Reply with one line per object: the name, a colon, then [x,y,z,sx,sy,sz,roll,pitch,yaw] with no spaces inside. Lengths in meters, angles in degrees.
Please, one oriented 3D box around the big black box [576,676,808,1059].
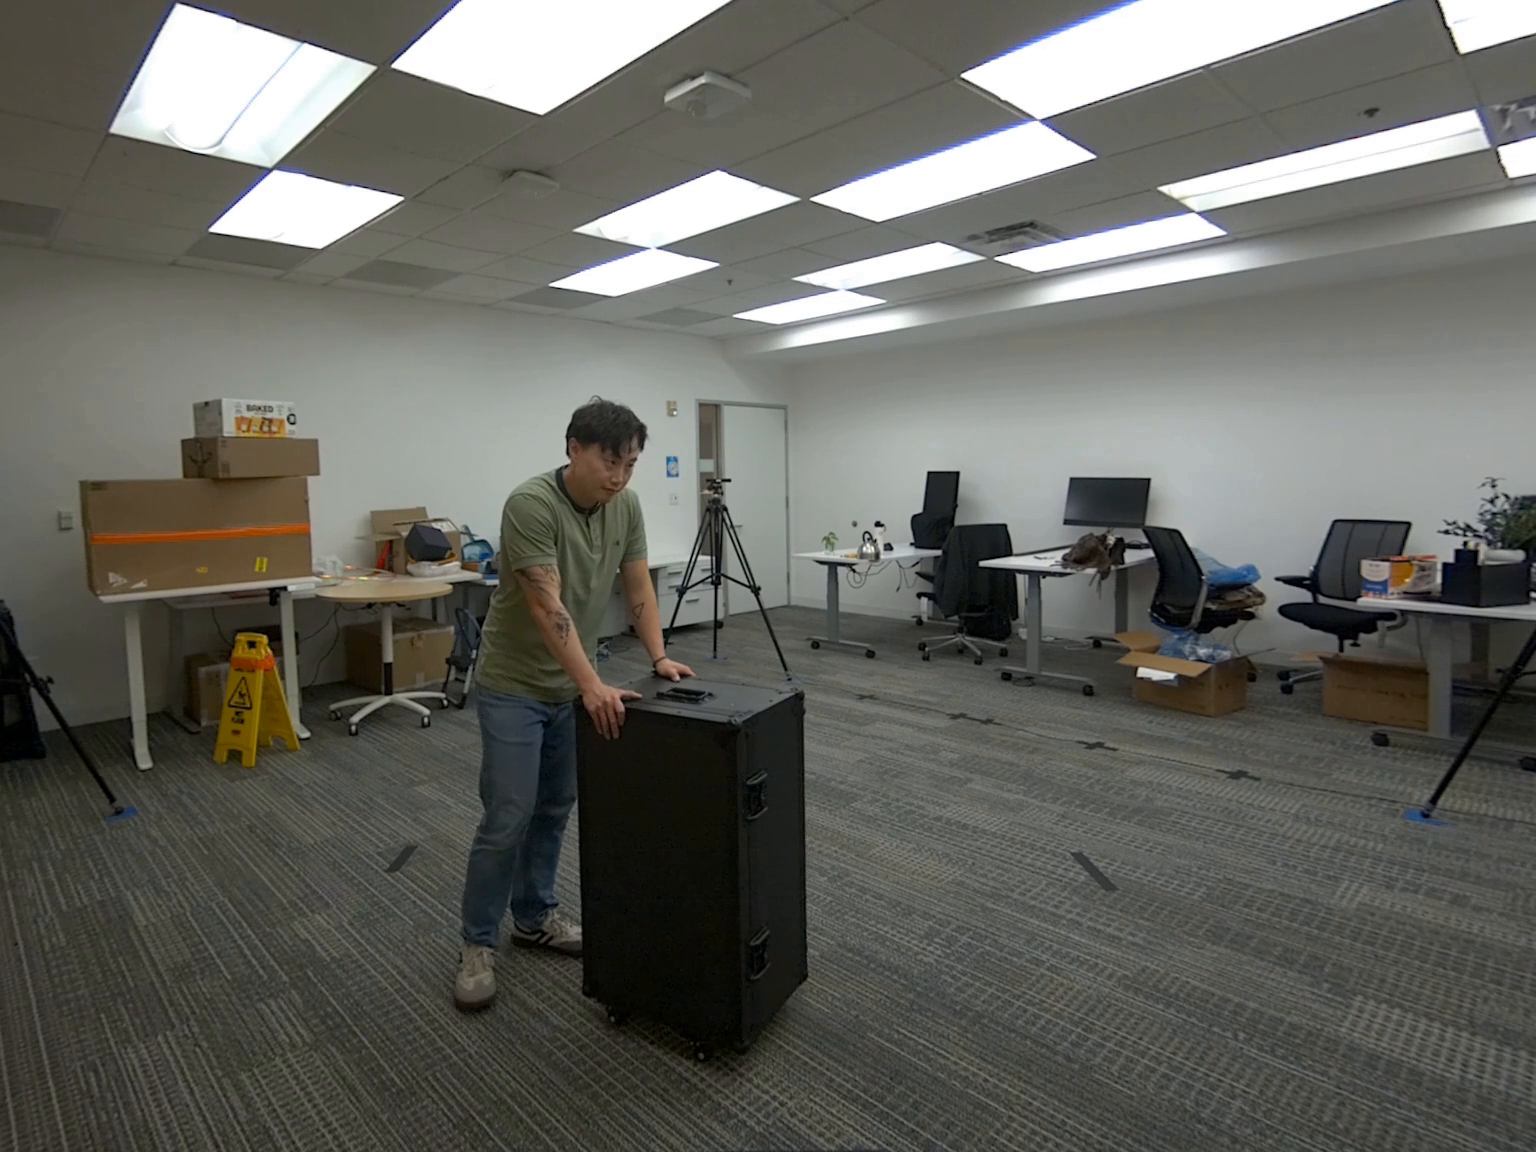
big black box: [-0.188,0.725,2.231,0.535,0.859,0.387,2,4,29]
